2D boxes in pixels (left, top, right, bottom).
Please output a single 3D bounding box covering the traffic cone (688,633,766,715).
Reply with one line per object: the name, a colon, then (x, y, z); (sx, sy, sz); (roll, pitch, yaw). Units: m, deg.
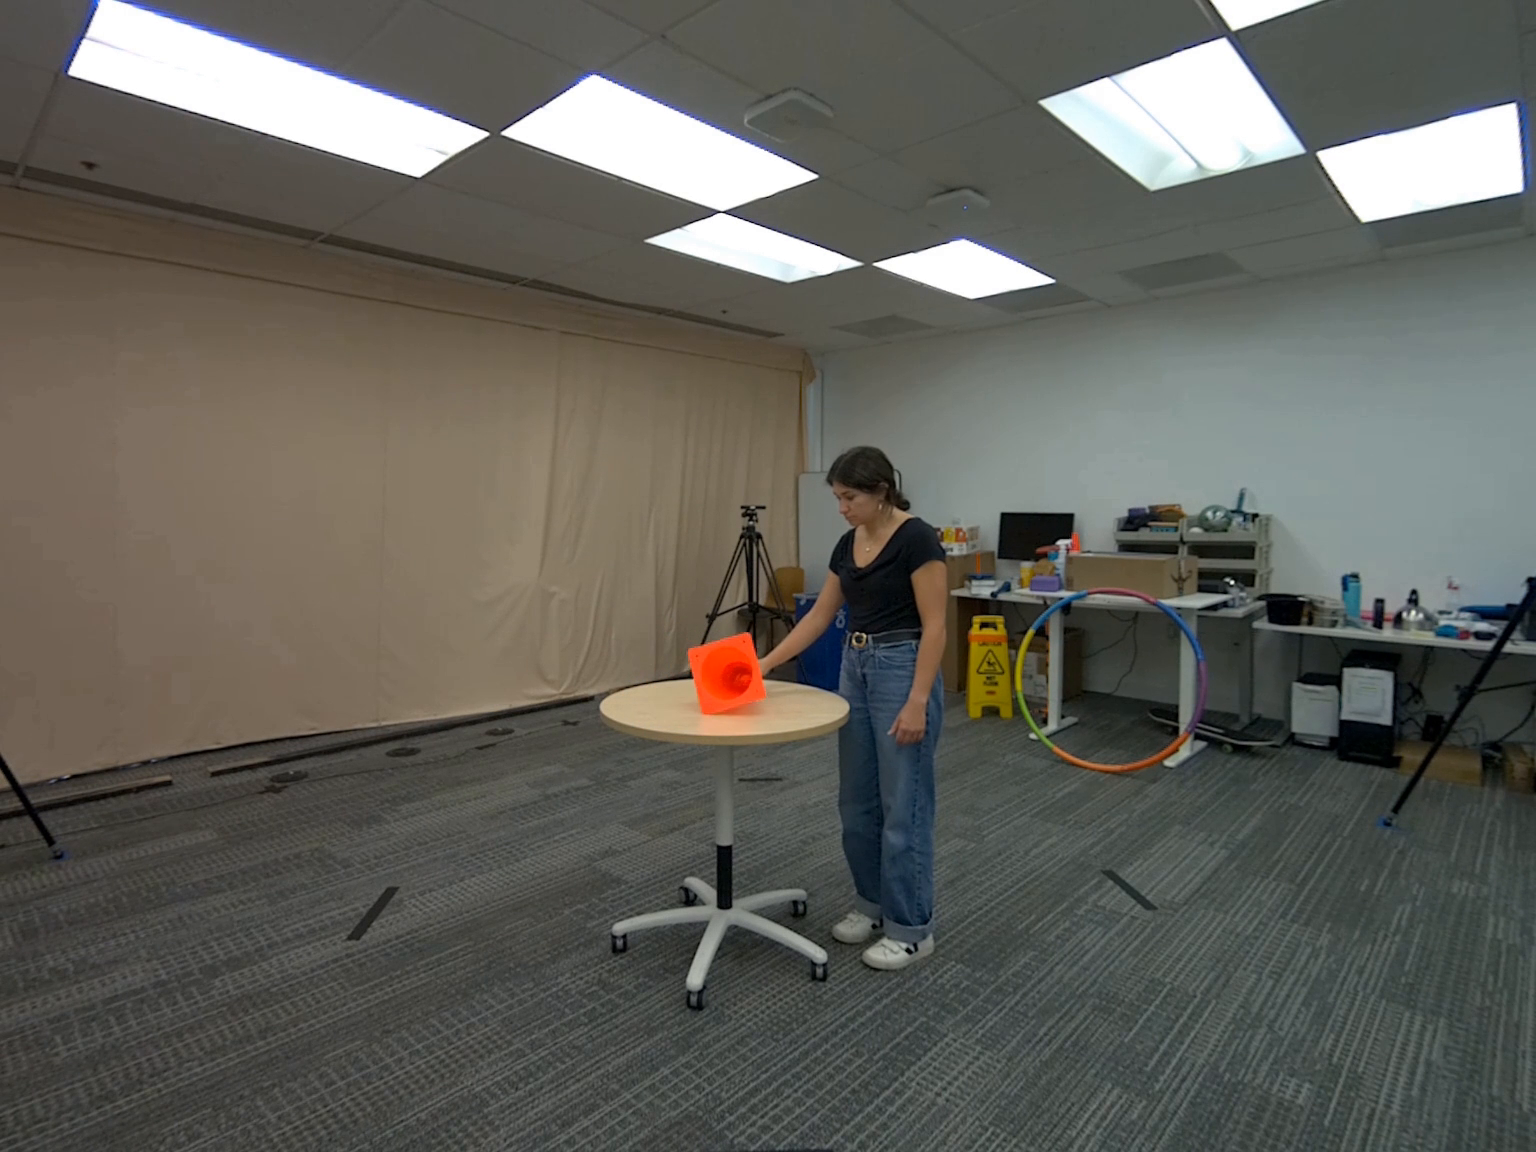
traffic cone: (-0.086, 0.326, 2.640); (0.206, 0.206, 0.377); (-16, -13, 4)
